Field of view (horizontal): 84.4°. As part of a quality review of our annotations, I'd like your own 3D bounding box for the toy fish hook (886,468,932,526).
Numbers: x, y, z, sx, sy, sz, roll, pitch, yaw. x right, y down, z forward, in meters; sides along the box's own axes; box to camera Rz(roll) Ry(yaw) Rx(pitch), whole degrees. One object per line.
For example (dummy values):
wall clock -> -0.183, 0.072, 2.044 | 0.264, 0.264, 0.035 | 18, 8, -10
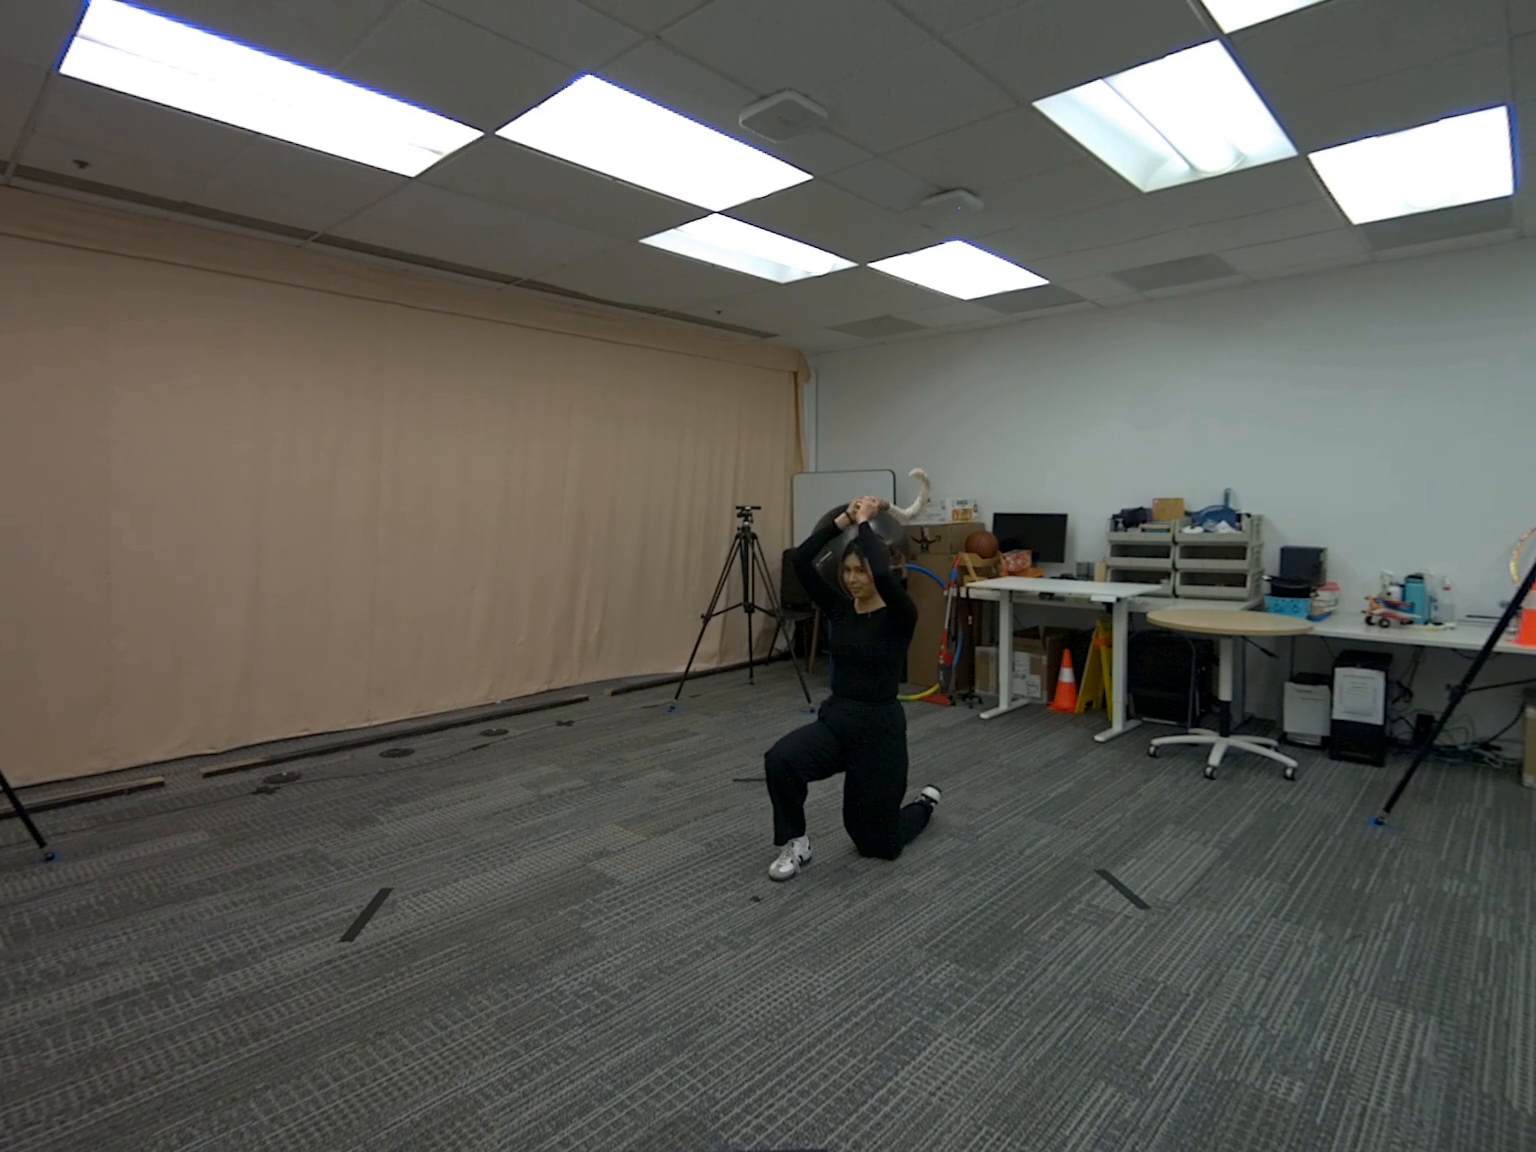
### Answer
toy fish hook -> 0.491, -0.332, 3.355 | 0.050, 0.223, 0.491 | 20, 17, 39
